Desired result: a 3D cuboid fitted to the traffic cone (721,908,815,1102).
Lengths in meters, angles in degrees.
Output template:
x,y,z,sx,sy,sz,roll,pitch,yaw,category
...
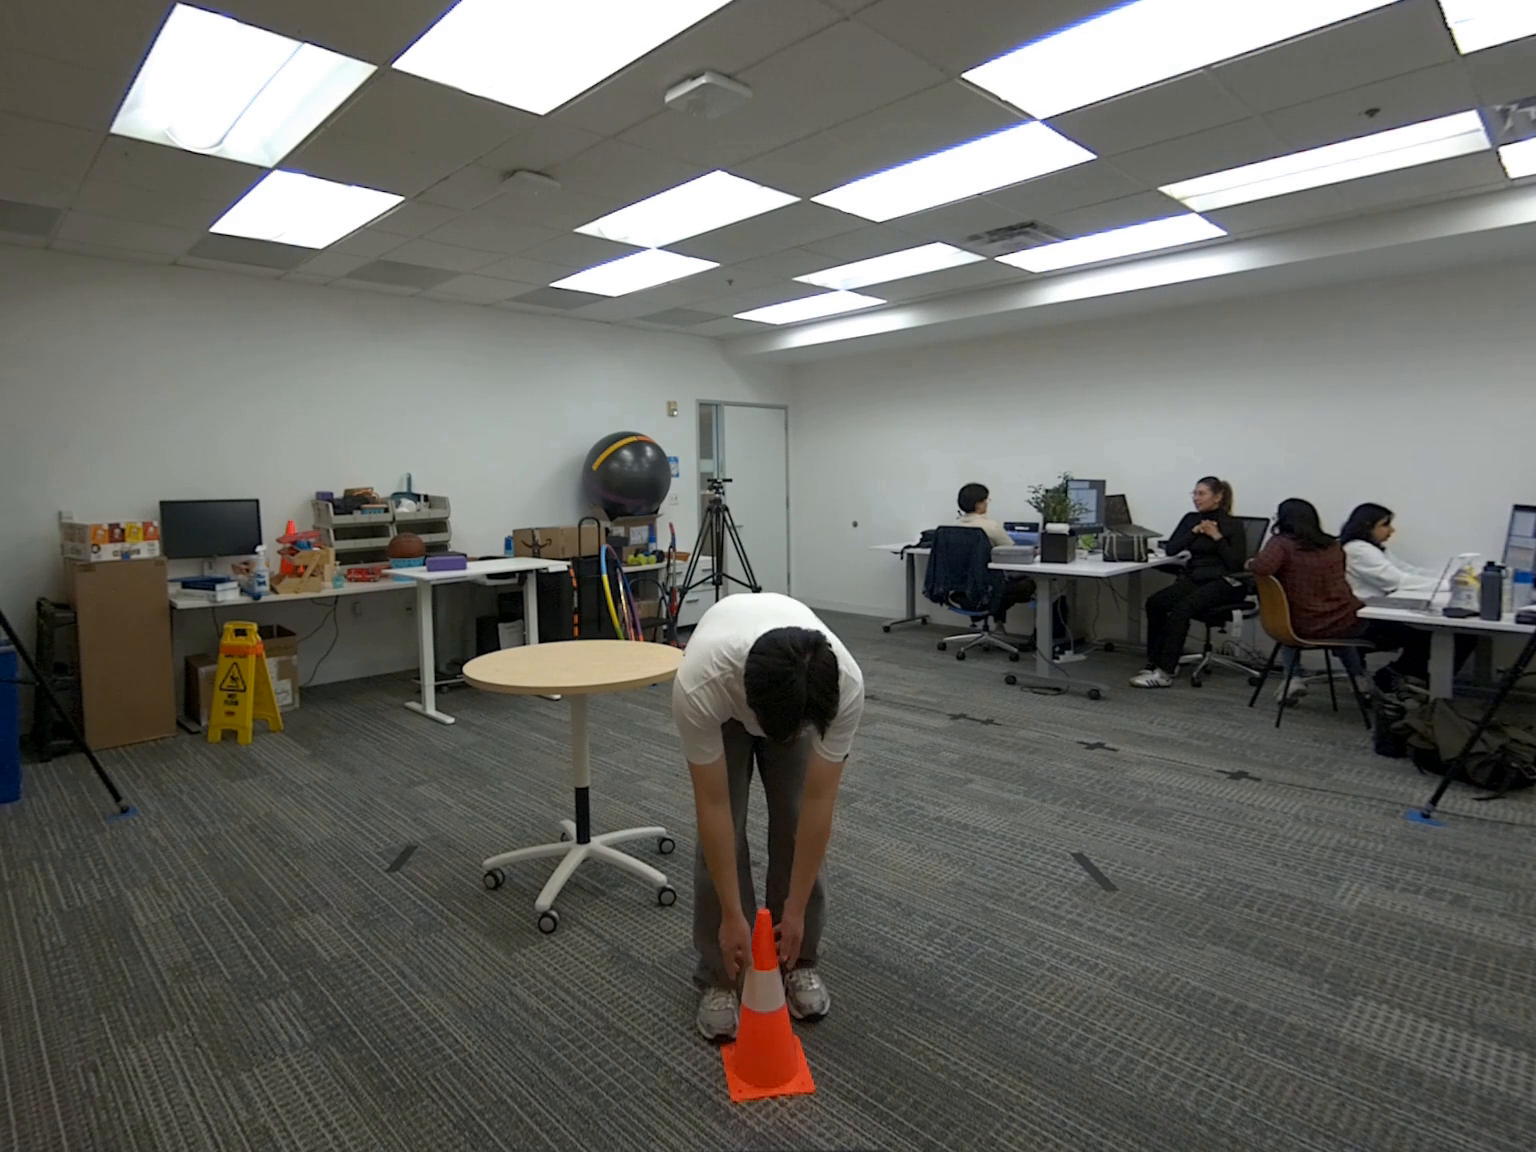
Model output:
x,y,z,sx,sy,sz,roll,pitch,yaw,category
-0.002,0.988,2.023,0.200,0.382,0.209,-5,4,-18,traffic cone
